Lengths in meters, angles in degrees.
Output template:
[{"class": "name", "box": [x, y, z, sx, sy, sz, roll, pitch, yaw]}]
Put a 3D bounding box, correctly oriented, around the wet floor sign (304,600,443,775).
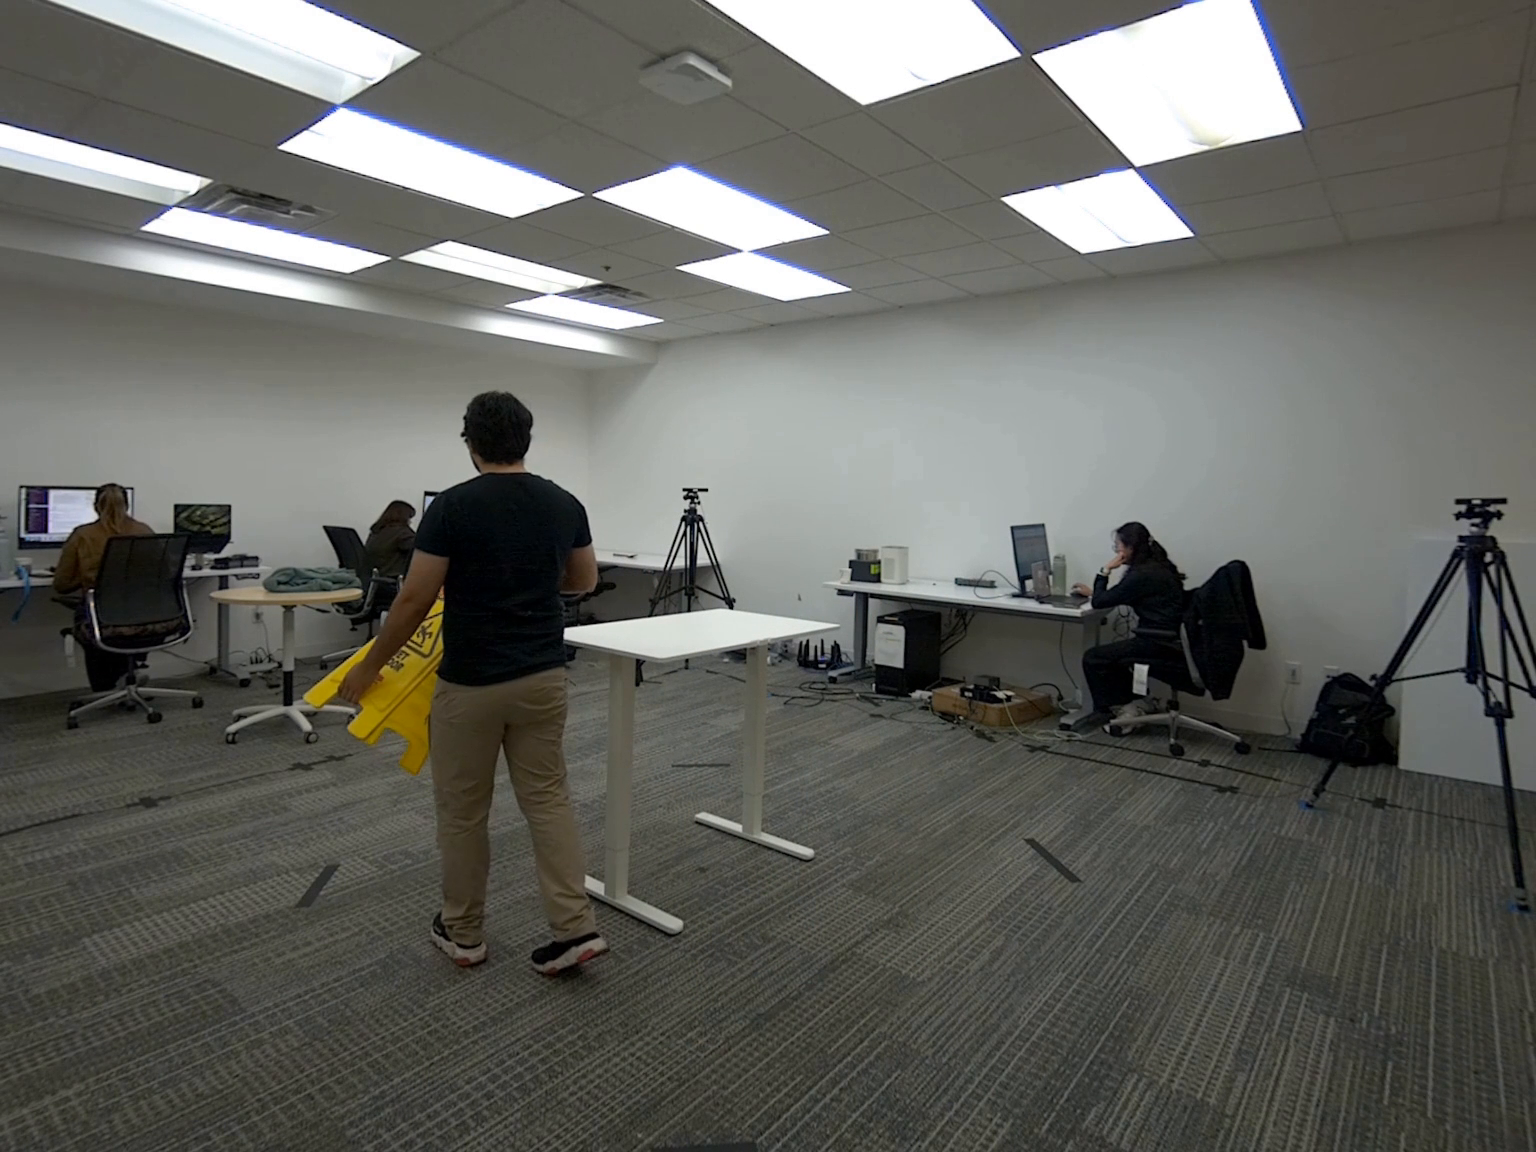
[{"class": "wet floor sign", "box": [-1.046, 0.226, 2.623, 0.292, 0.648, 0.279, 22, -26, 26]}]
